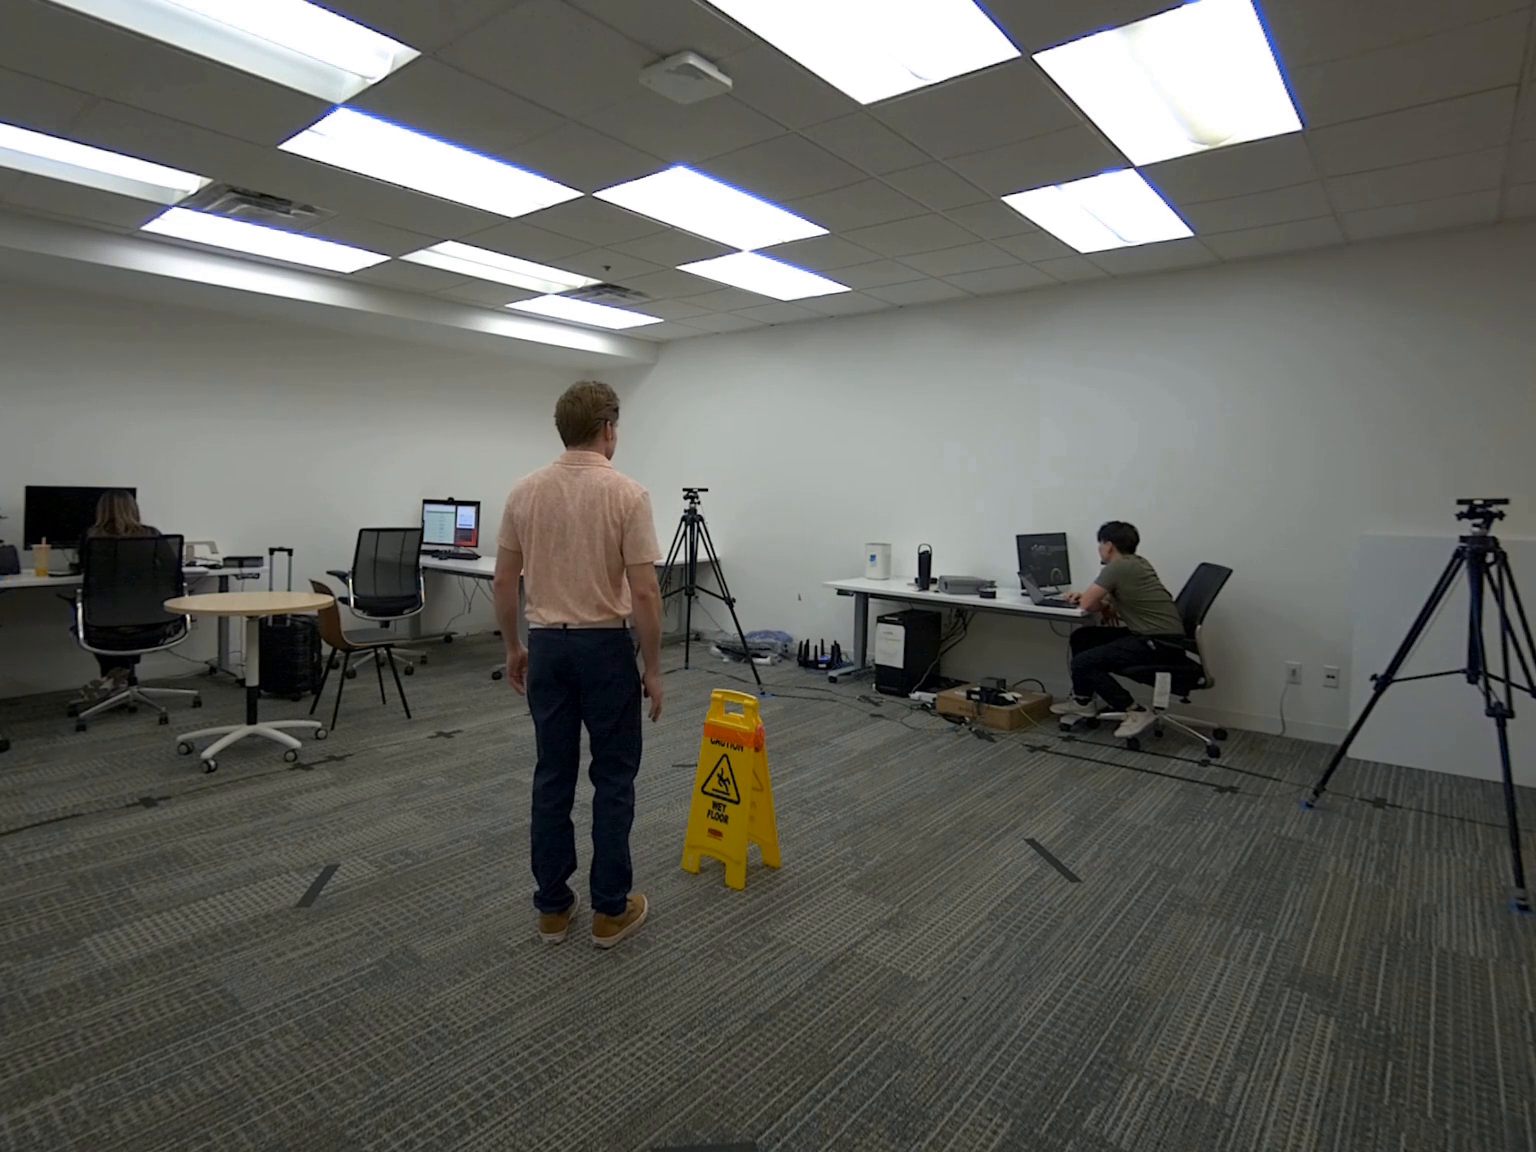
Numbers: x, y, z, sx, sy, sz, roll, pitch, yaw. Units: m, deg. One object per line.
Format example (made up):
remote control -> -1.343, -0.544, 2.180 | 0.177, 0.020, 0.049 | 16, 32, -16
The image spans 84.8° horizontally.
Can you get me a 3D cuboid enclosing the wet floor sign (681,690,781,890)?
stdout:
wet floor sign -> -0.138, 0.744, 3.102 | 0.291, 0.644, 0.281 | 3, 4, 36
